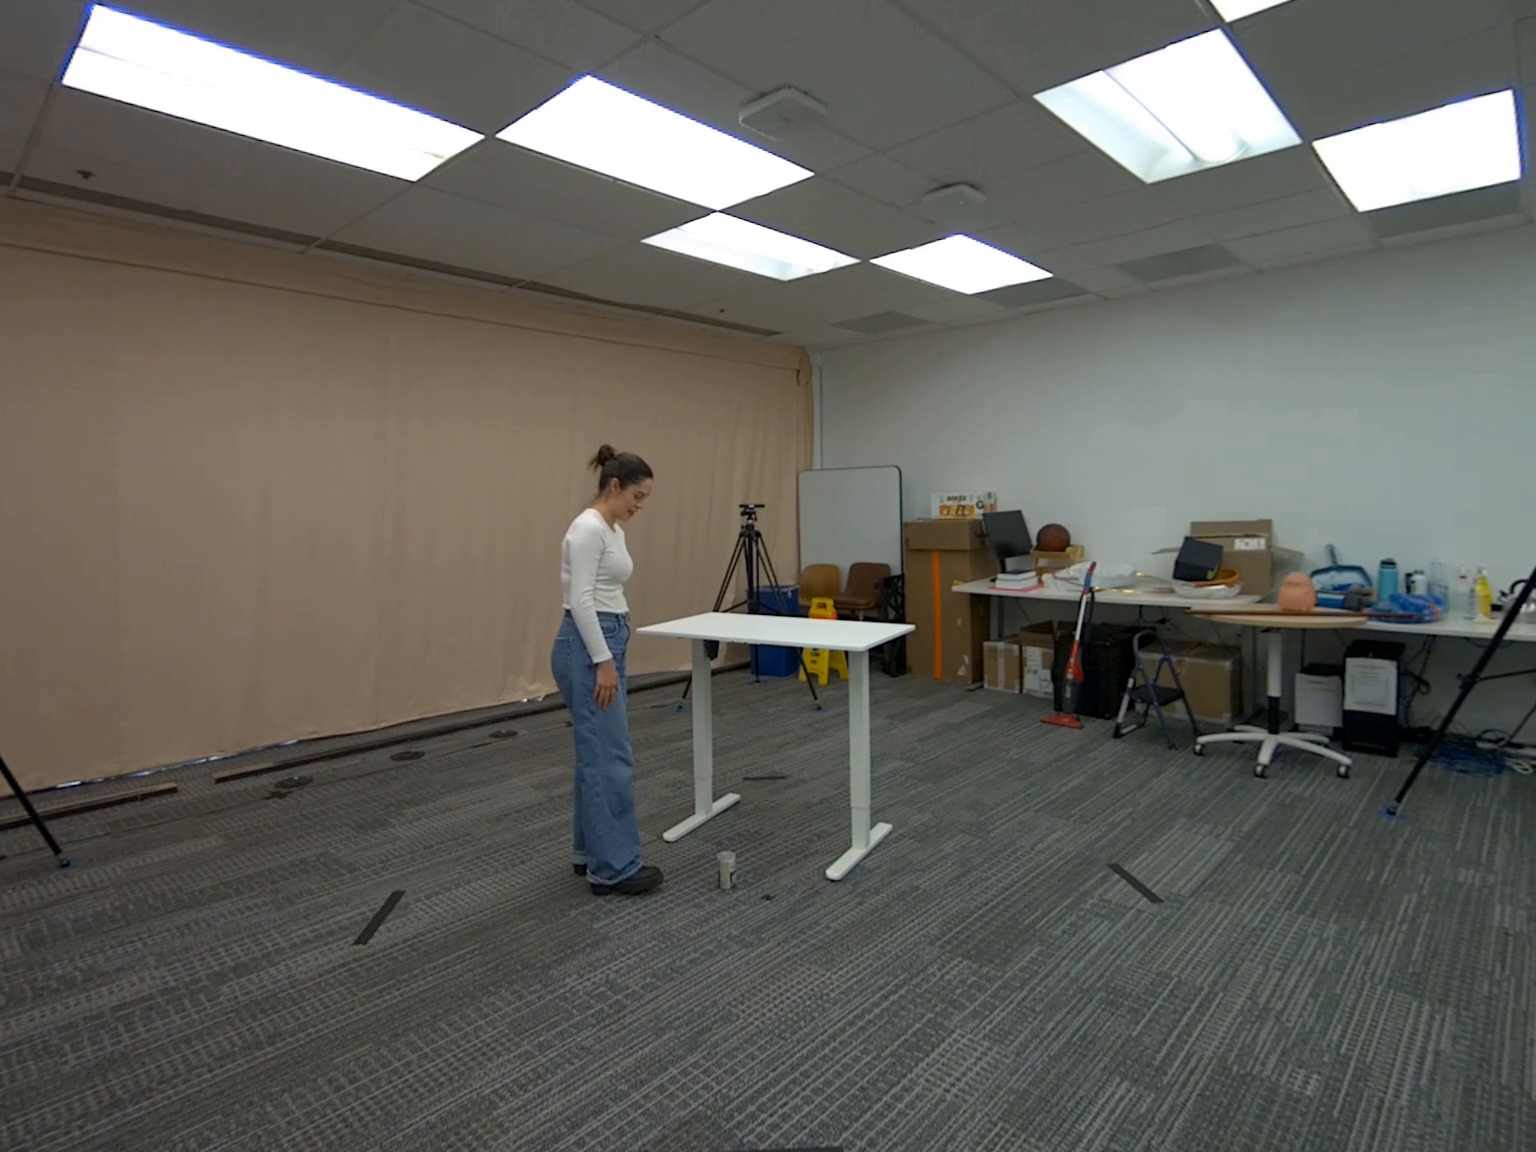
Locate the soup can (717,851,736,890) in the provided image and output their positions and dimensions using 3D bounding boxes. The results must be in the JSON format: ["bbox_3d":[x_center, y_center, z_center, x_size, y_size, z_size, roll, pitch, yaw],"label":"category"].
[{"bbox_3d":[-0.147,1.087,3.058,0.067,0.121,0.067,0,4,-2],"label":"soup can"}]
